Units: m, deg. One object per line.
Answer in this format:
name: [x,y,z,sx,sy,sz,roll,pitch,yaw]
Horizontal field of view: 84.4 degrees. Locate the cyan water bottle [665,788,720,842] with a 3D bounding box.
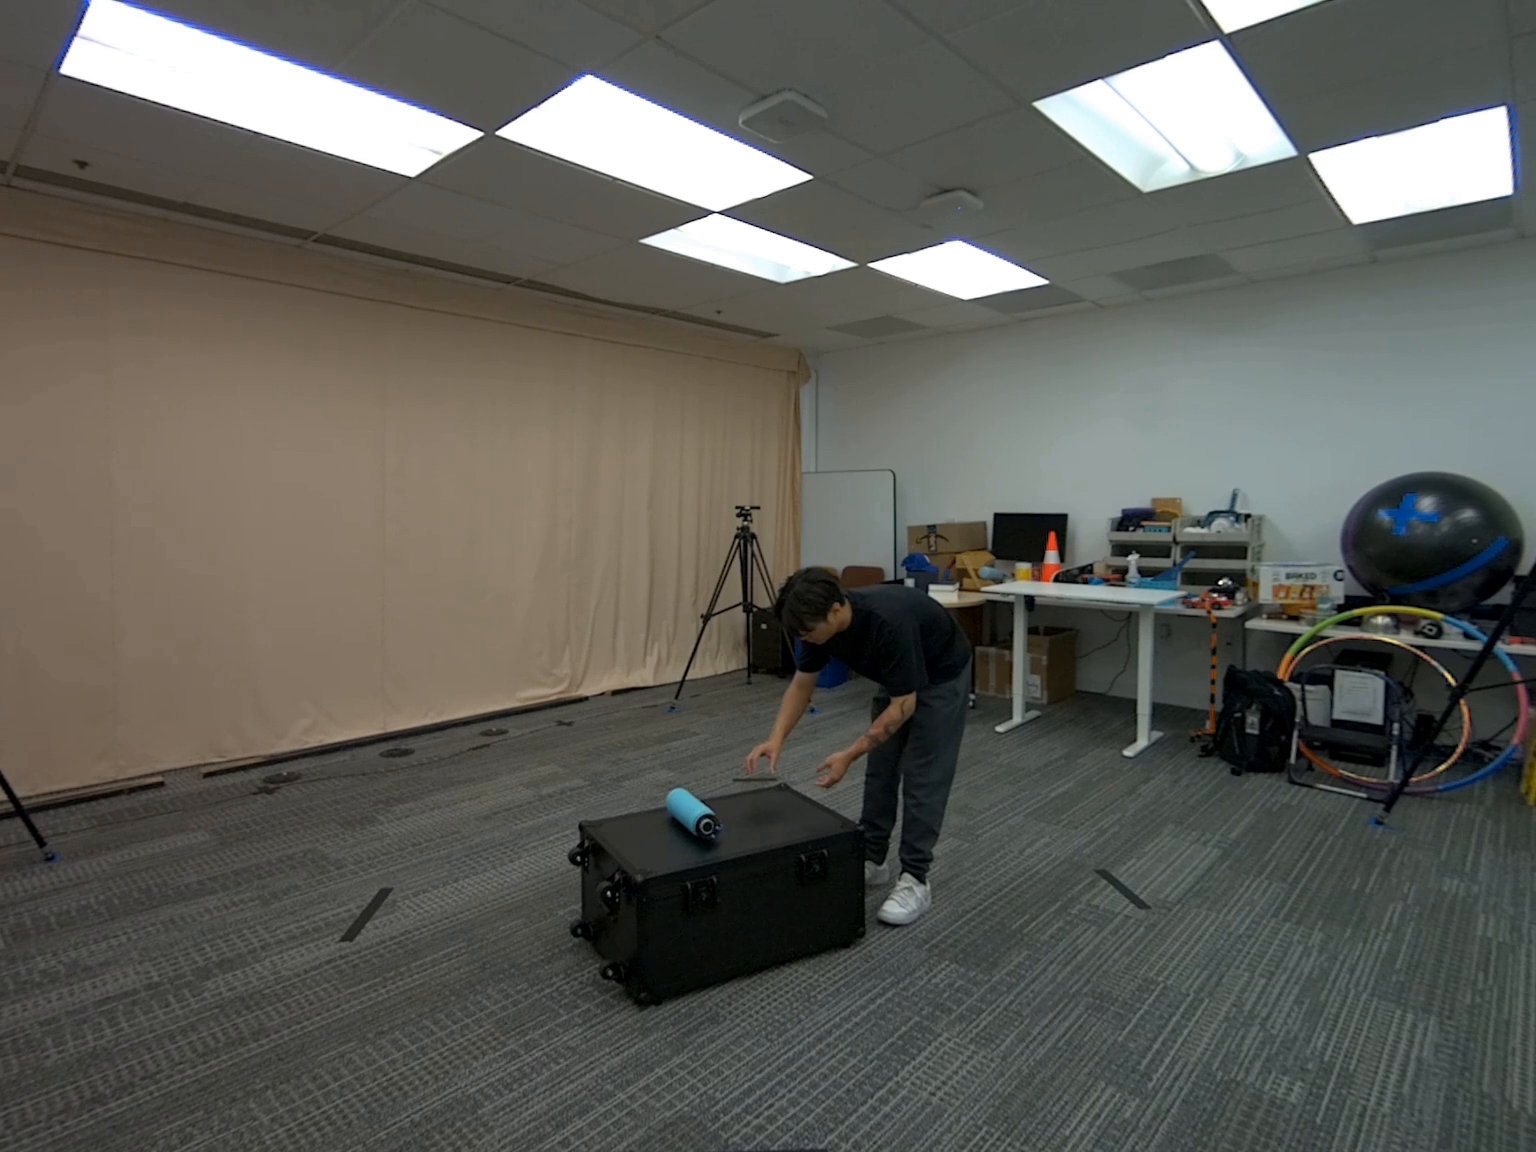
cyan water bottle: [-0.222,0.746,2.651,0.090,0.092,0.291,-2,4,-27]
